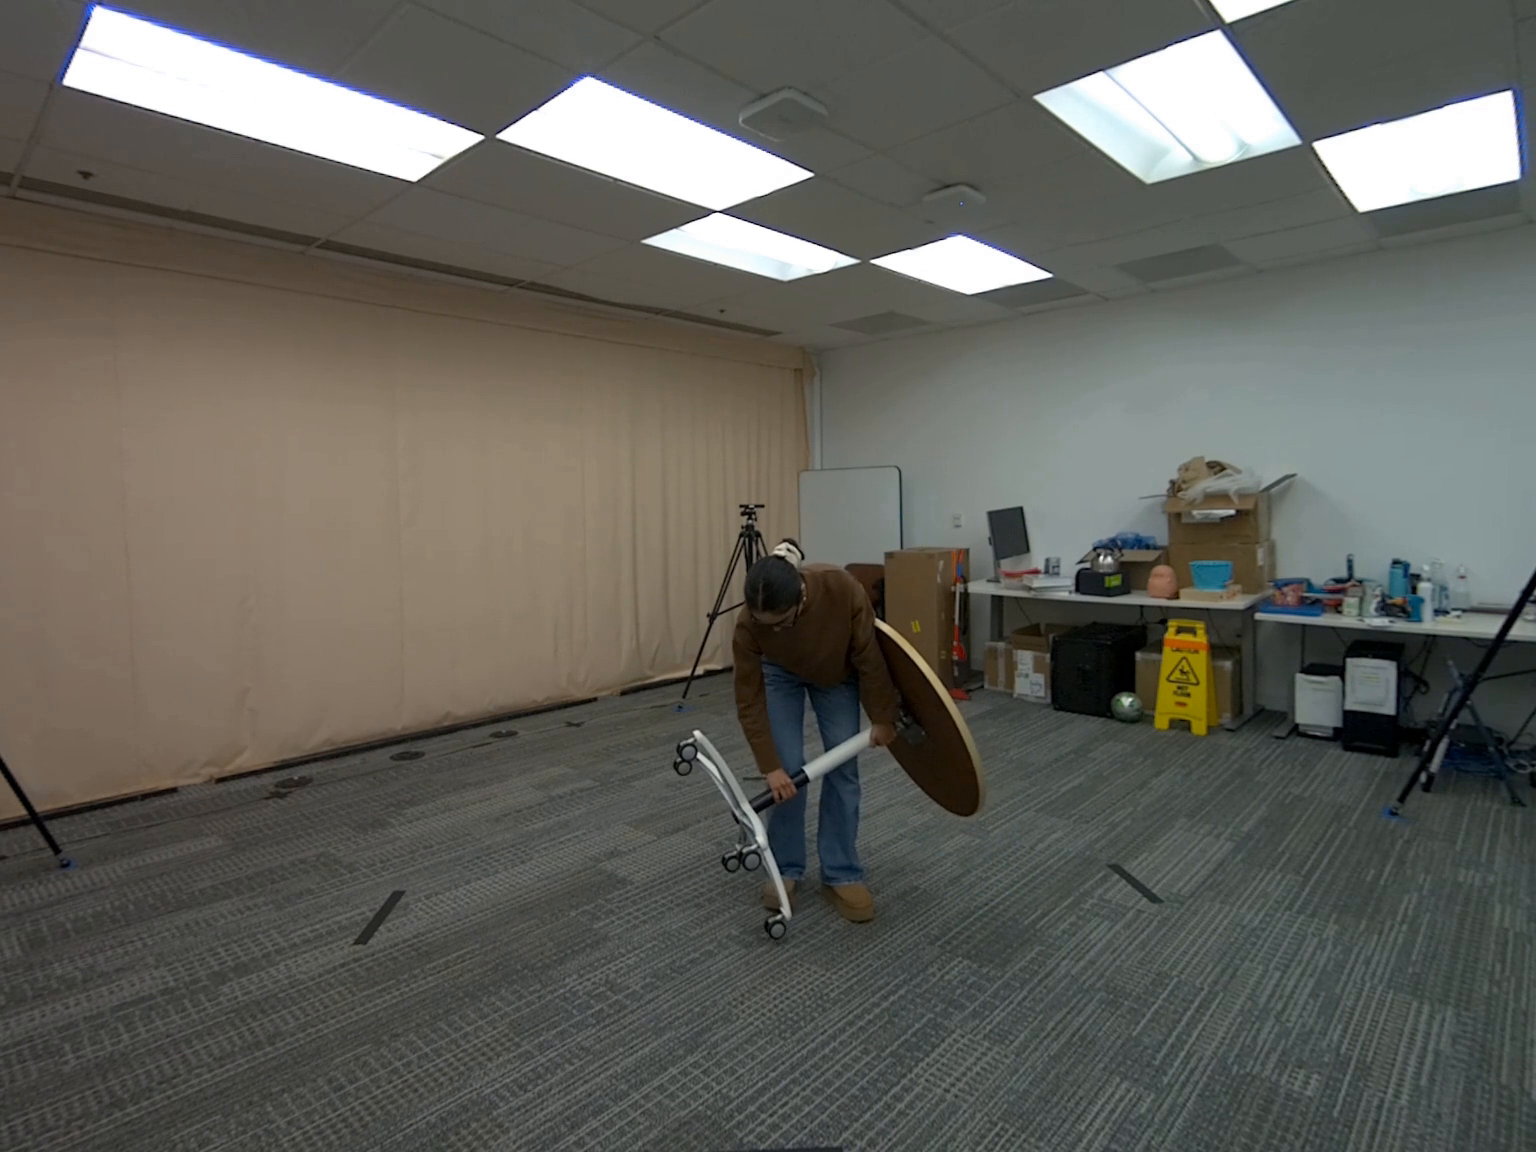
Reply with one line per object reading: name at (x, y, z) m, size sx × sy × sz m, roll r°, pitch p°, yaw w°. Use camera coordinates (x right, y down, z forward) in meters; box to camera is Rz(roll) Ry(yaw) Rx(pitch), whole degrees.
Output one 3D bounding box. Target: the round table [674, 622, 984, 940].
round table at (0.162, 0.656, 2.837) m, size 0.786 × 0.756 × 0.780 m, roll -28°, pitch 12°, yaw -16°
